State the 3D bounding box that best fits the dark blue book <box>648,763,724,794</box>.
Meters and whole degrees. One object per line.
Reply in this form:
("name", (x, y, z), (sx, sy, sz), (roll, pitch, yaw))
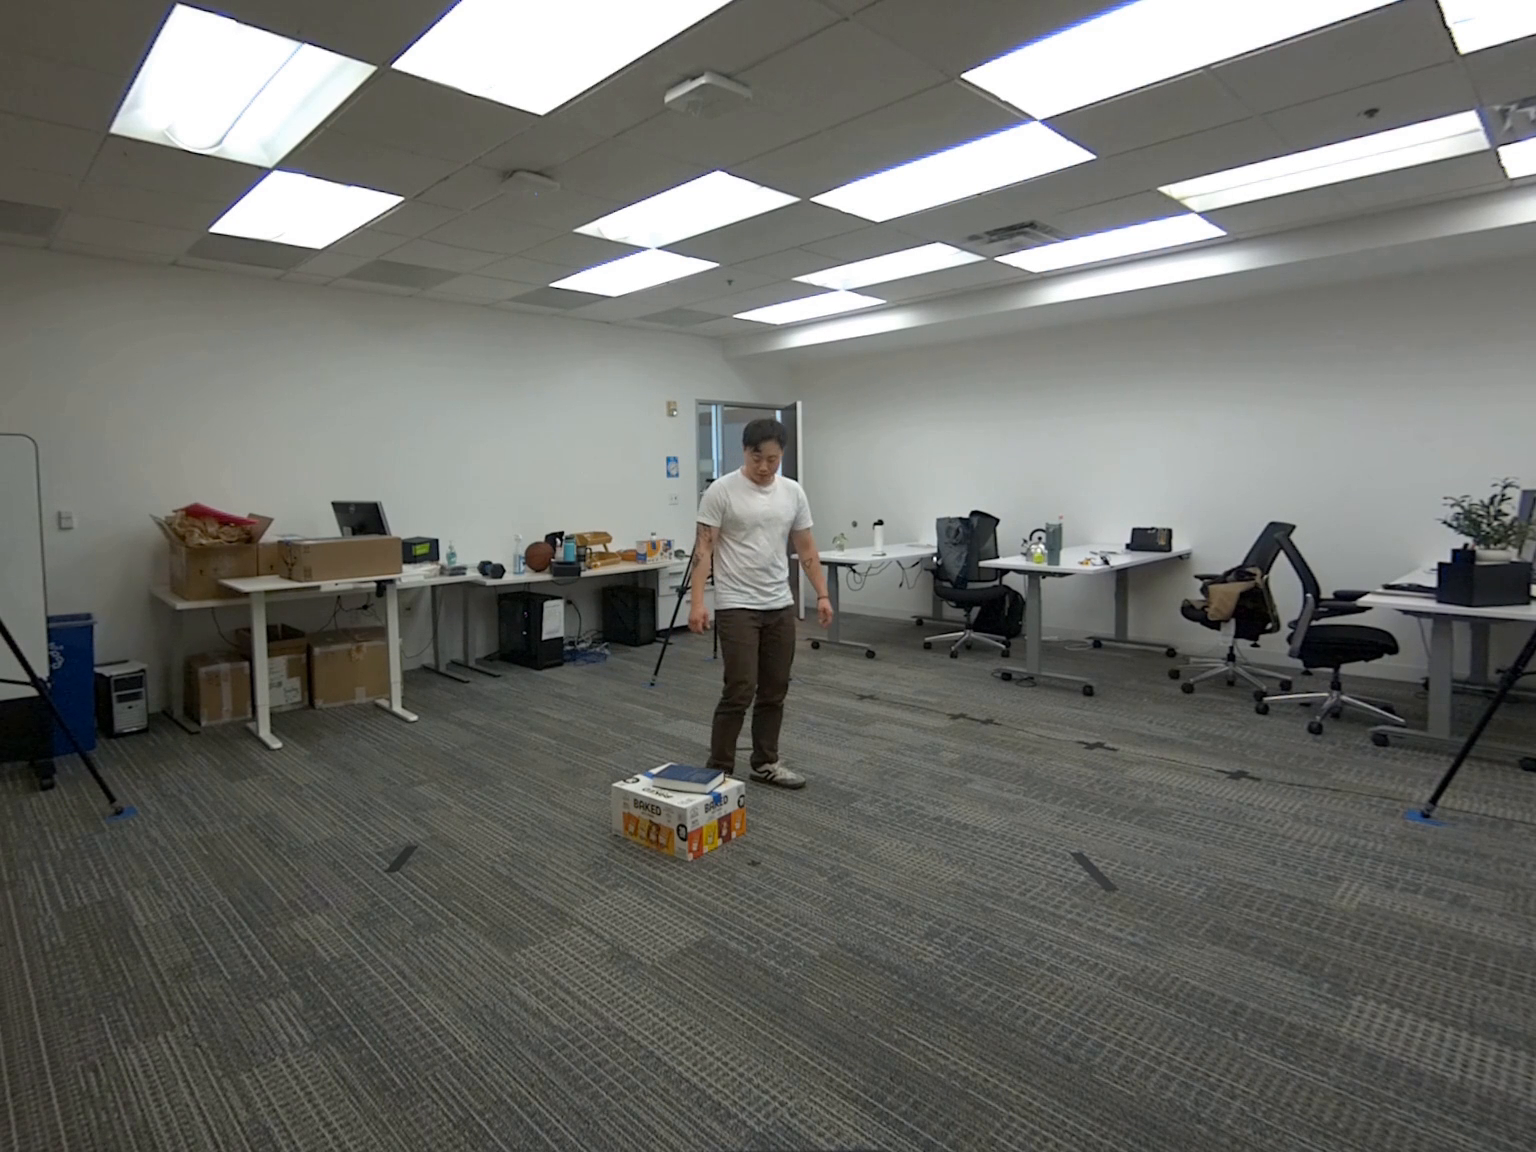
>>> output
("dark blue book", (-0.318, 0.802, 3.383), (0.251, 0.045, 0.160), (1, 7, 24))
